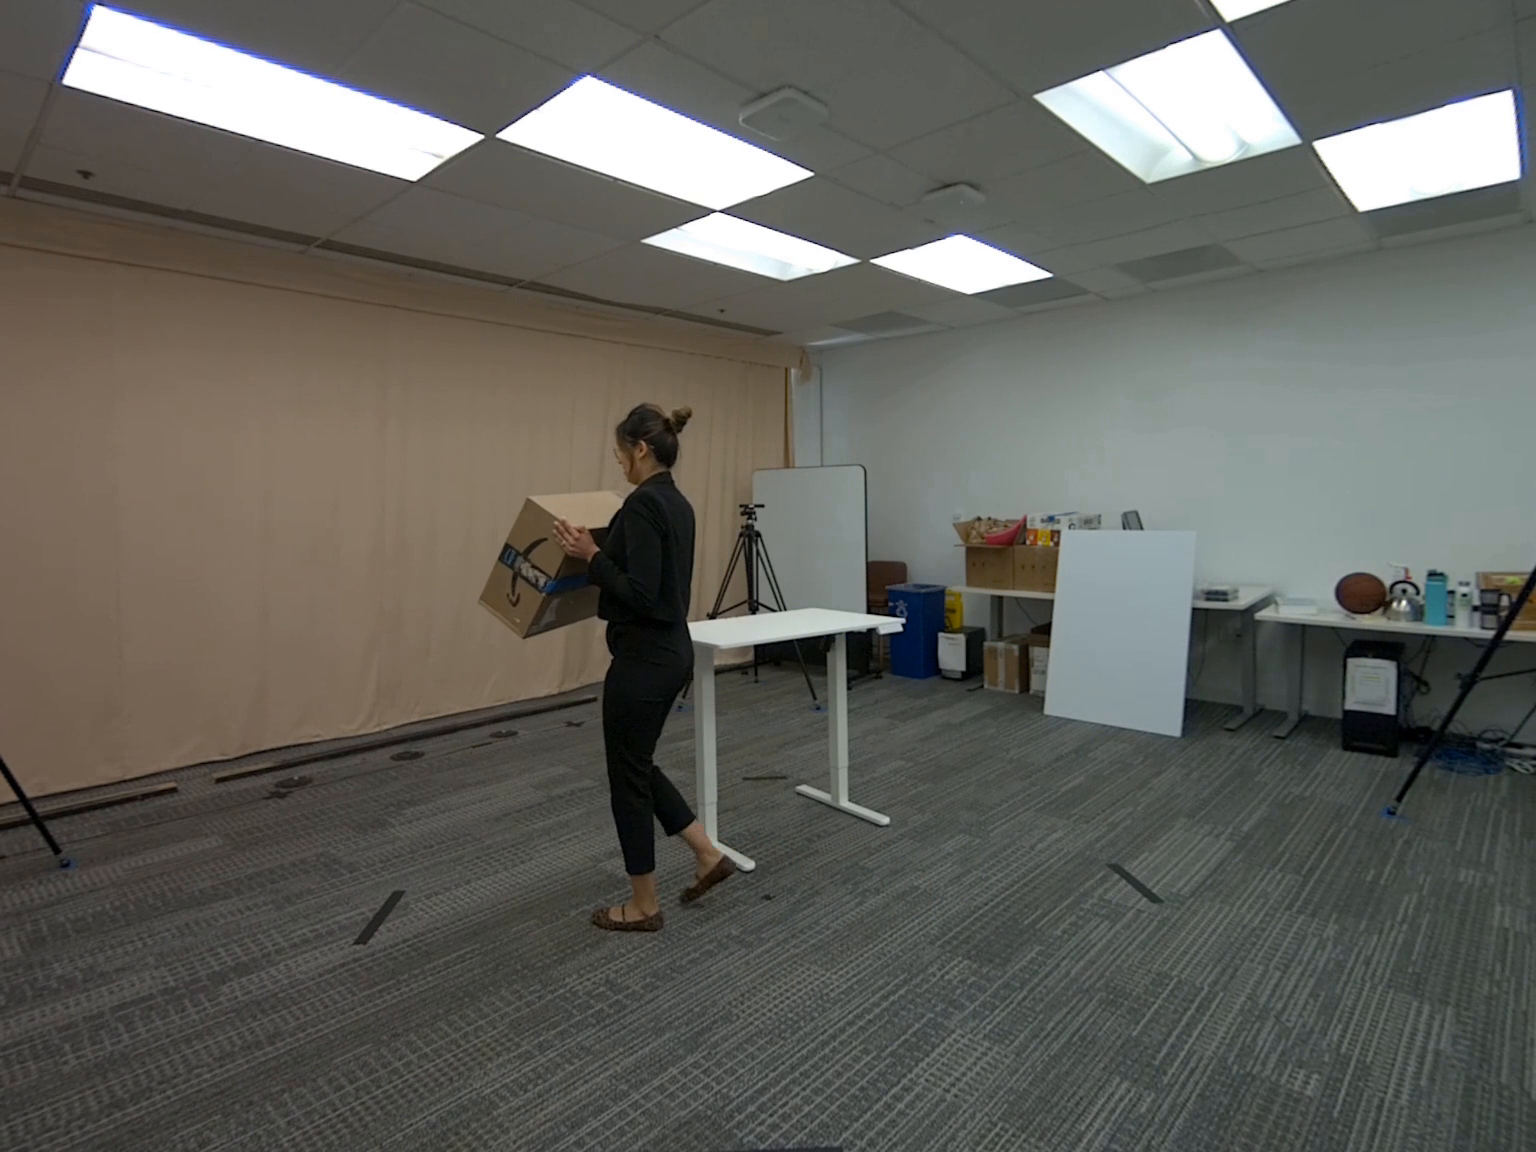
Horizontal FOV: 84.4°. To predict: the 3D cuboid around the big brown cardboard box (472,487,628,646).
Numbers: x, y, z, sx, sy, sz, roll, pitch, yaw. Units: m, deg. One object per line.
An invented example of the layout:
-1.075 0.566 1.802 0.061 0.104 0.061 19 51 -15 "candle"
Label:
-0.678 -0.057 2.953 0.237 0.417 0.578 34 18 13 "big brown cardboard box"
